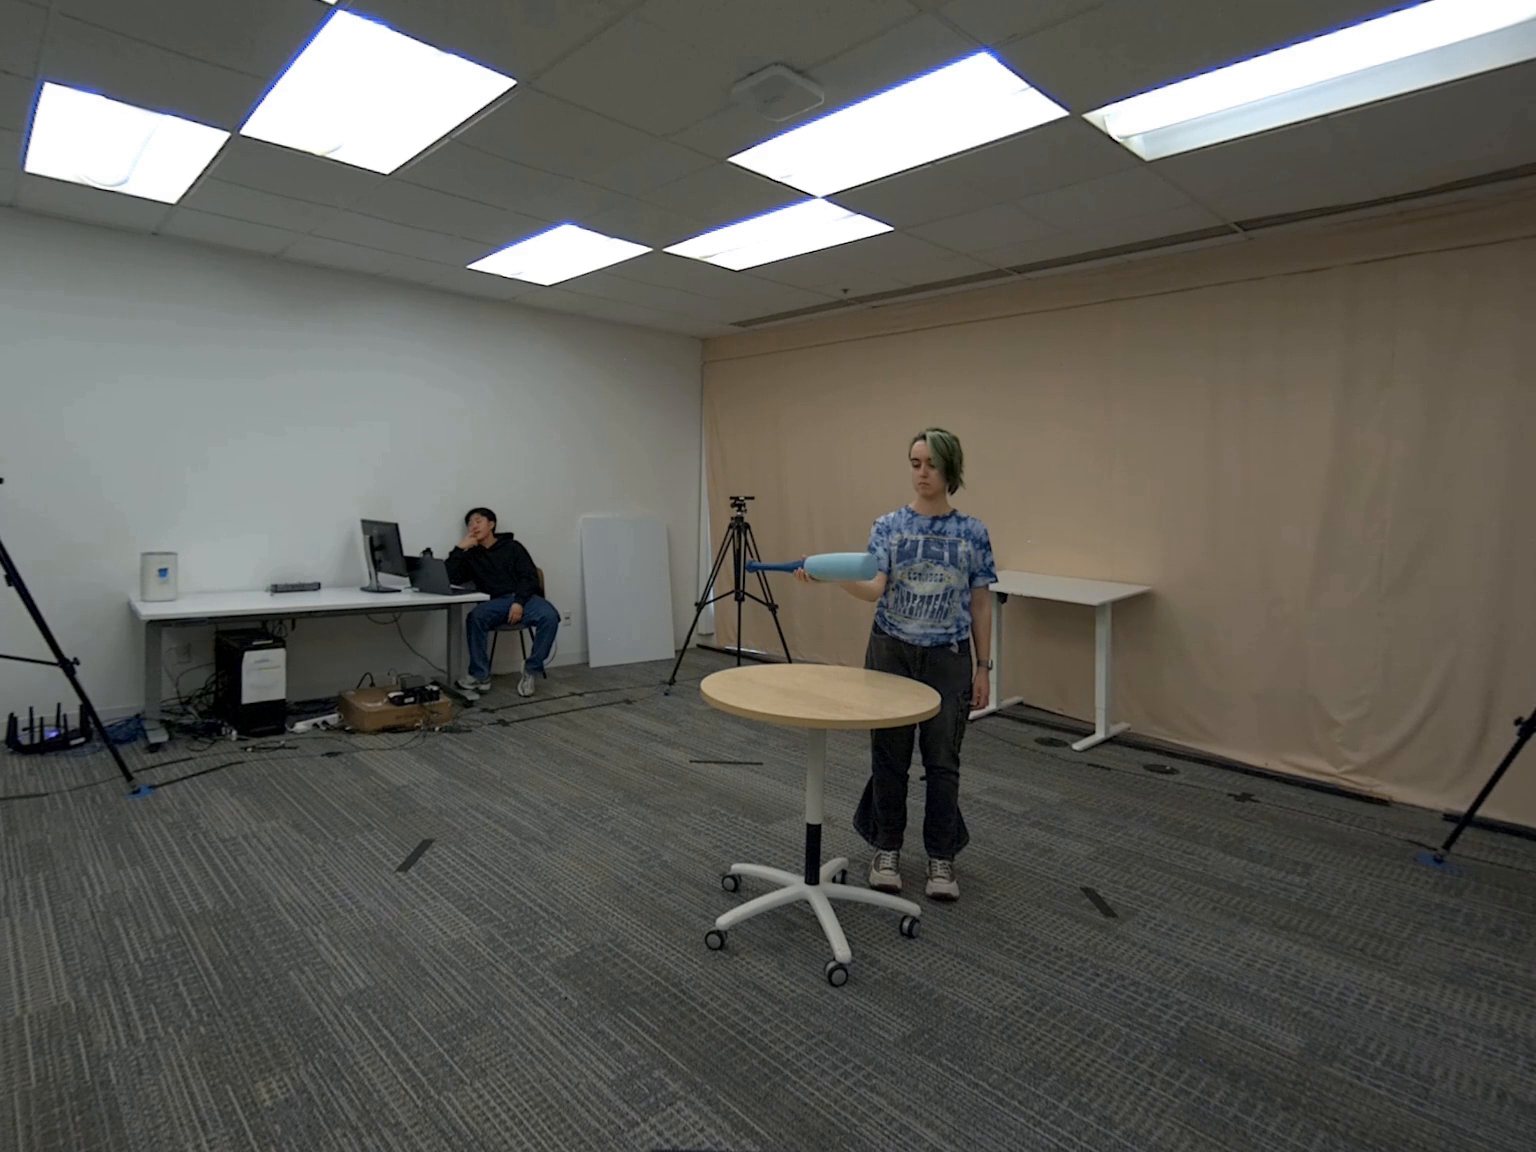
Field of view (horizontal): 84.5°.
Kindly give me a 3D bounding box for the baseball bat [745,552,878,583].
[{"bbox_3d":[0.126,-0.023,2.748,0.087,0.089,0.556,-2,2,-42],"label":"baseball bat"}]
